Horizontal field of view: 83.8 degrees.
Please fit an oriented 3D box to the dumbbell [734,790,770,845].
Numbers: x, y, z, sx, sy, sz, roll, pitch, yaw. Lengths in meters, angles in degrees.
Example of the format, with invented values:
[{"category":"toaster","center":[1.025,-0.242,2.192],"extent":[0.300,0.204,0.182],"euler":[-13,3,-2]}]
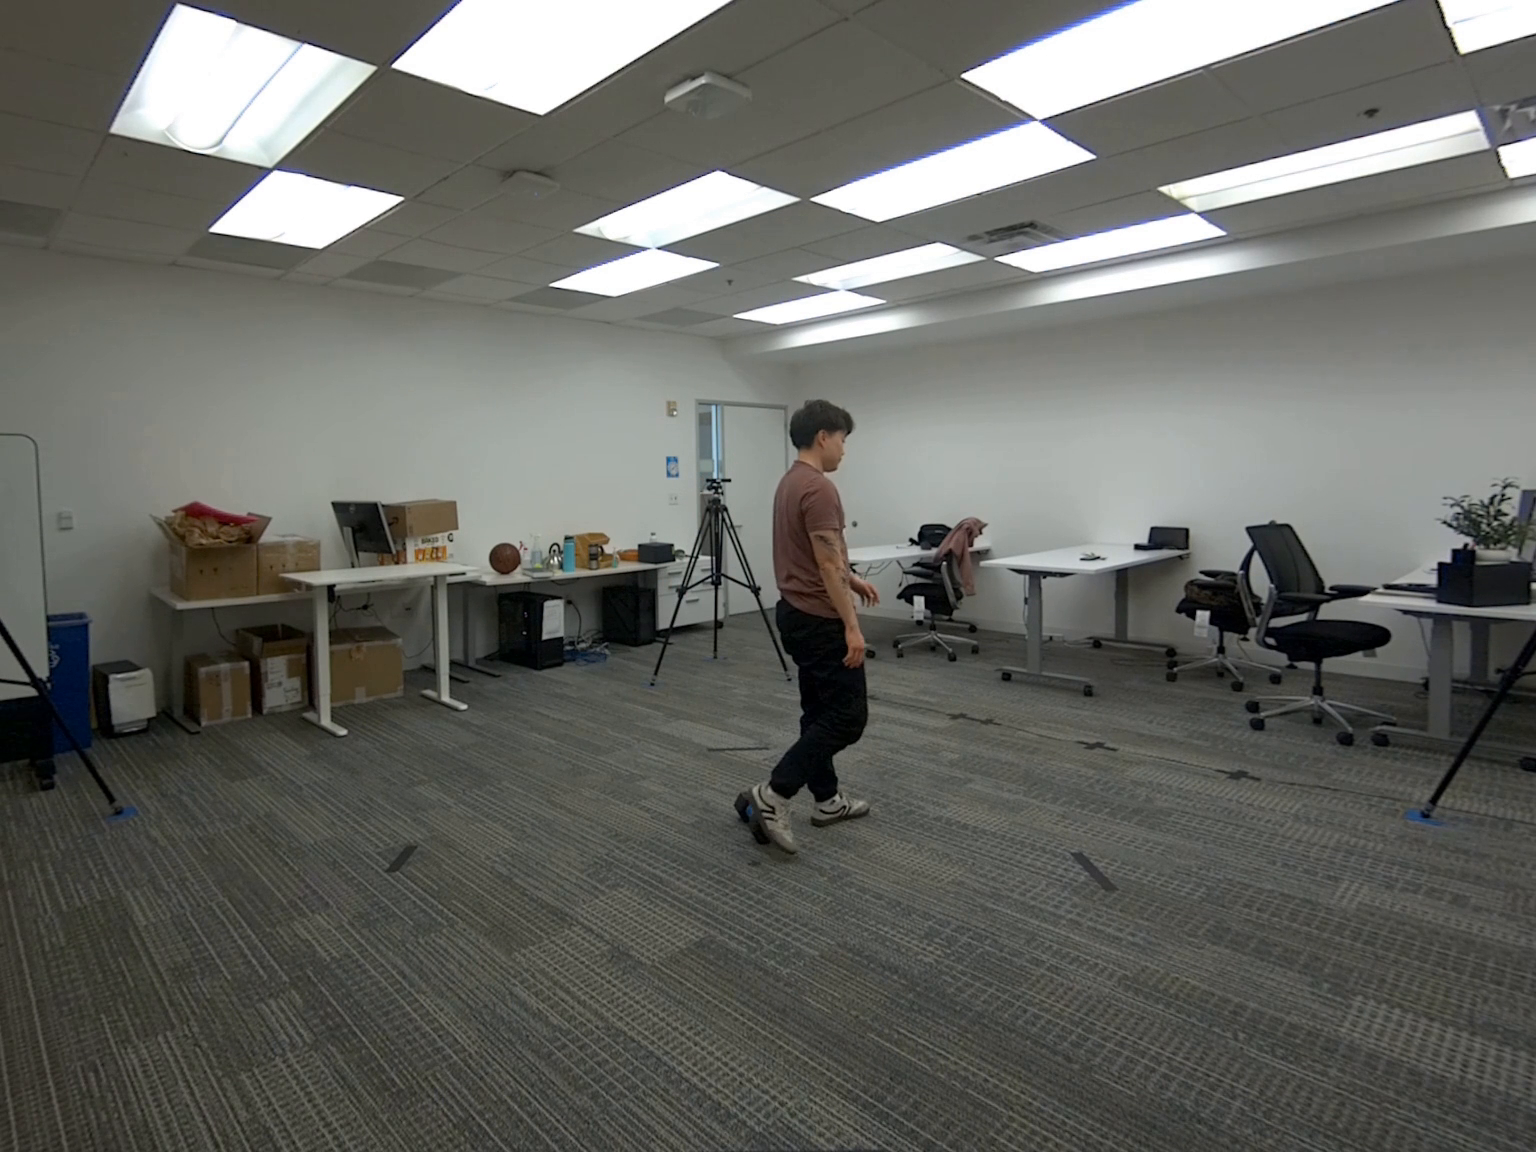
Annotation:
[{"category":"dumbbell","center":[-0.043,0.960,3.403],"extent":[0.121,0.108,0.299],"euler":[-1,5,-15]}]
